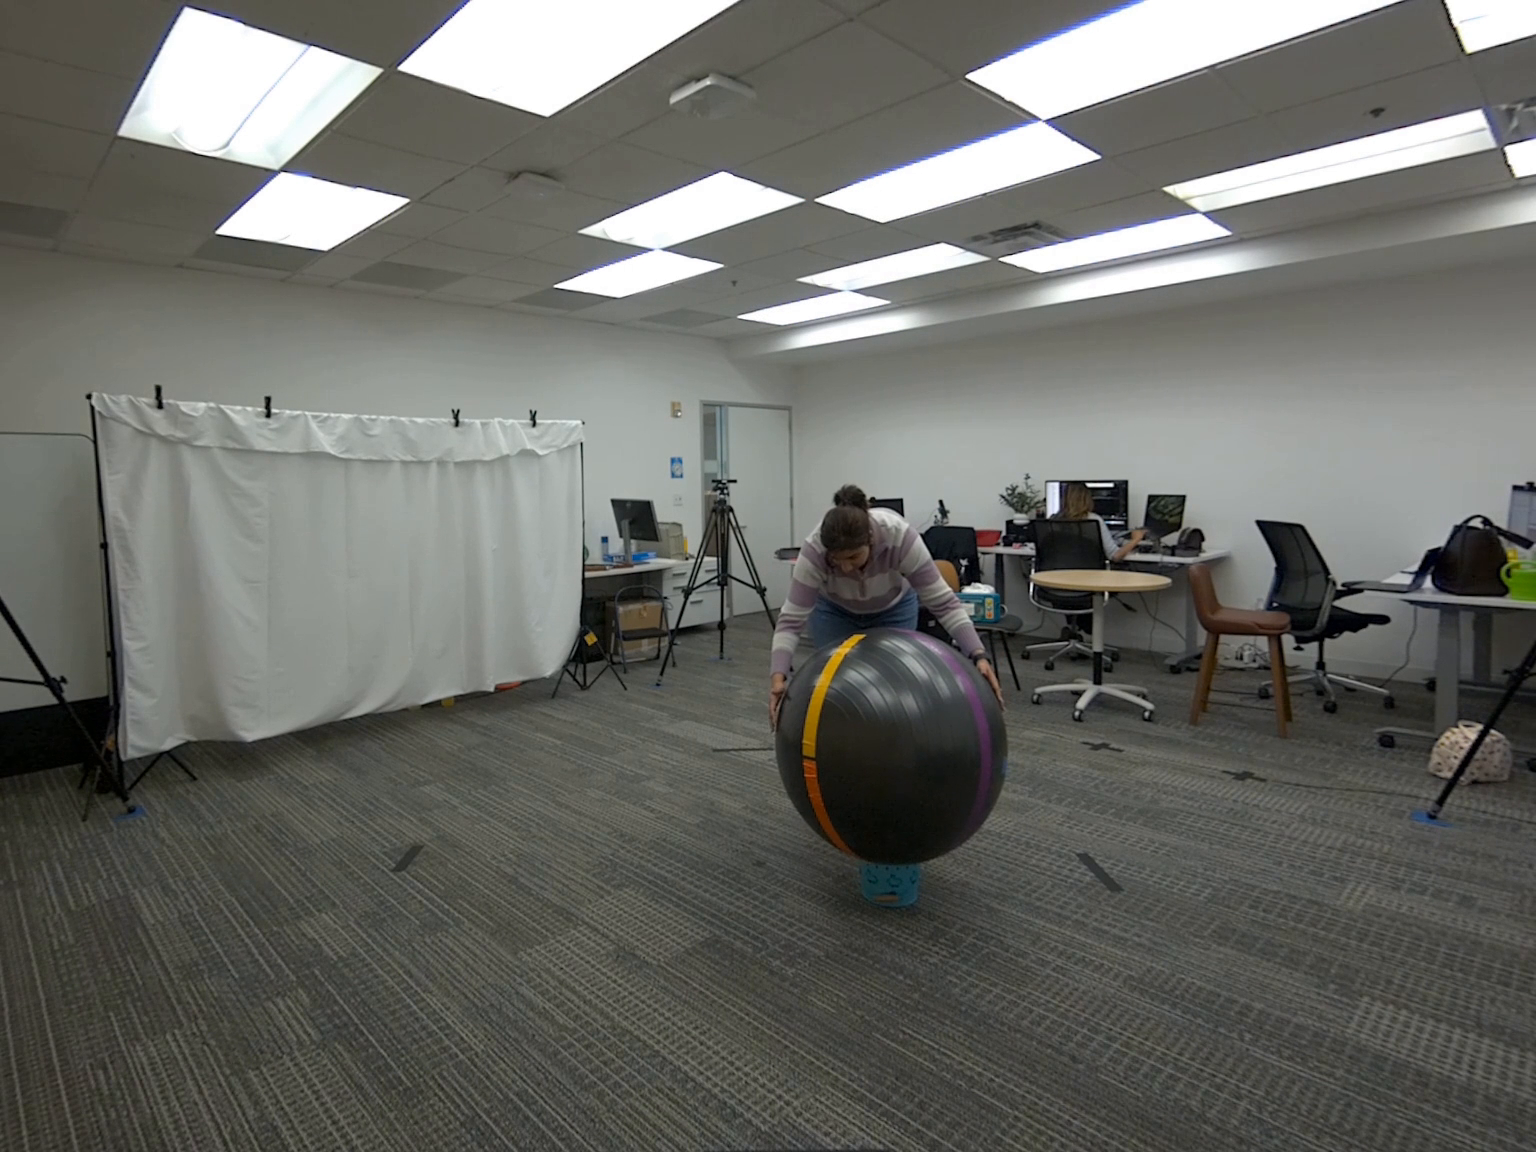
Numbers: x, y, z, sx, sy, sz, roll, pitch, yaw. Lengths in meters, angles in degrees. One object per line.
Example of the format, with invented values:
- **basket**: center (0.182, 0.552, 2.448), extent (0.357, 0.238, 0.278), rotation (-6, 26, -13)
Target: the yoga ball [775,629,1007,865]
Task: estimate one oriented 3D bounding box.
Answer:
- **yoga ball**: center (0.401, 0.559, 2.838), extent (0.757, 0.755, 0.762), rotation (-1, 5, -2)
